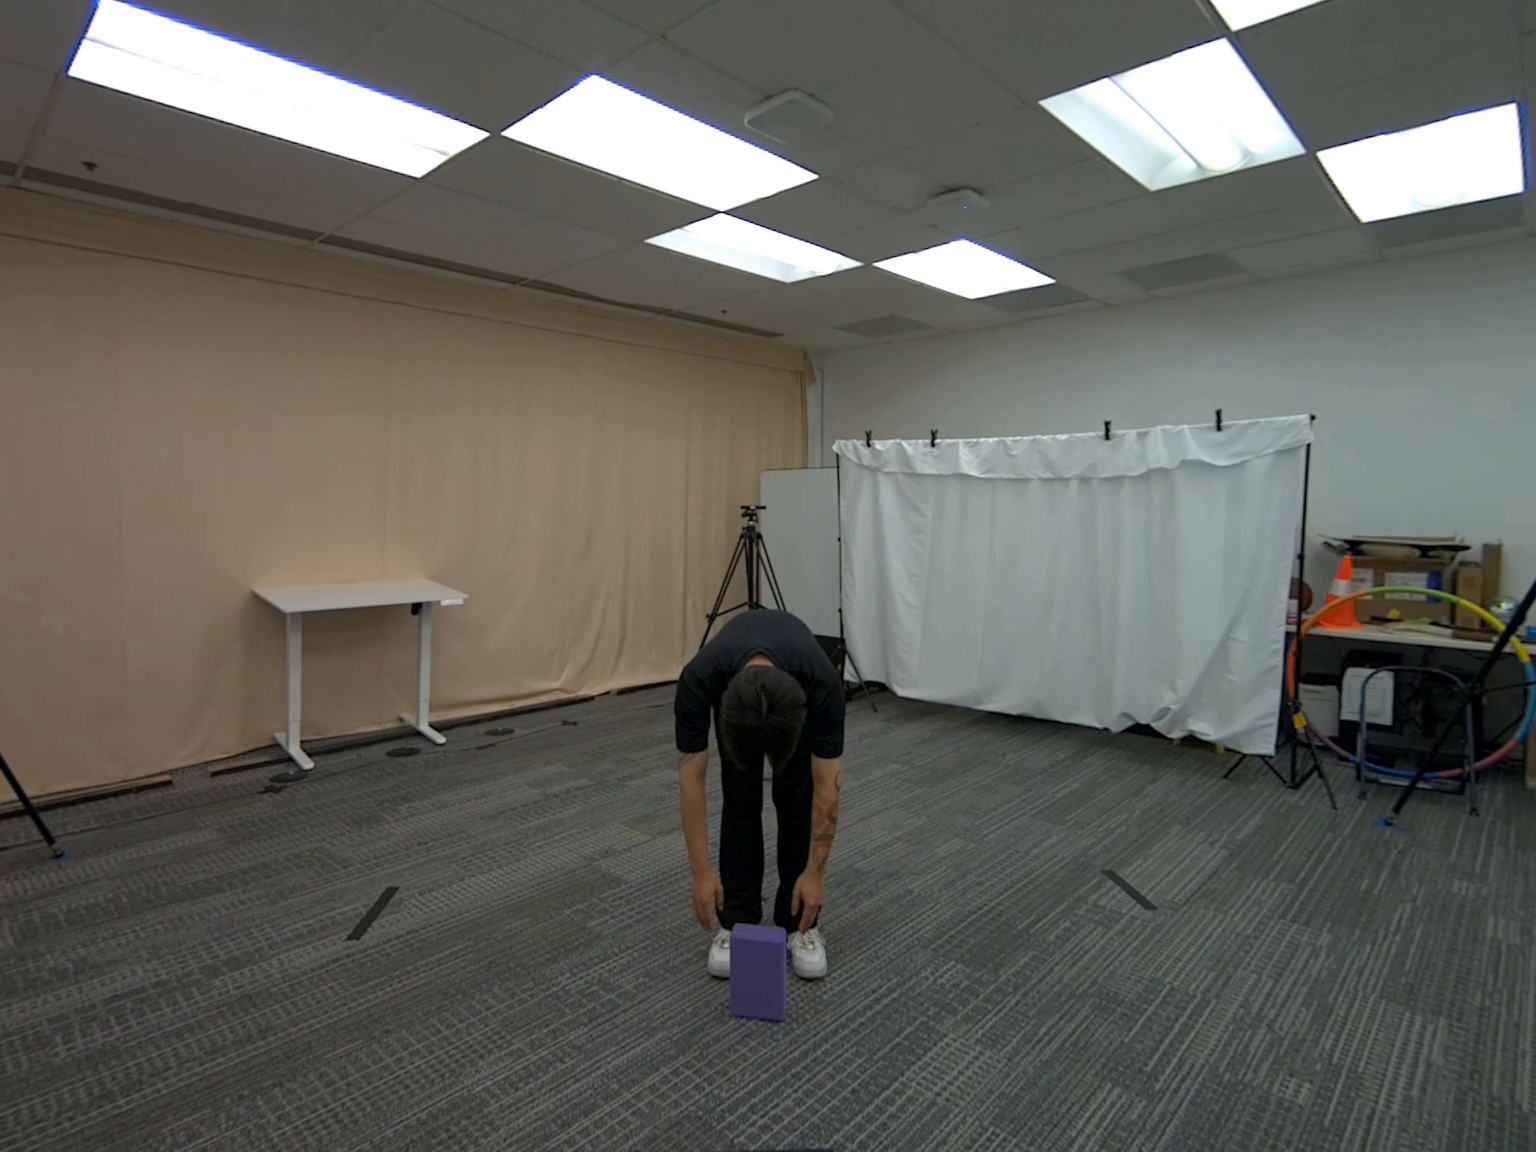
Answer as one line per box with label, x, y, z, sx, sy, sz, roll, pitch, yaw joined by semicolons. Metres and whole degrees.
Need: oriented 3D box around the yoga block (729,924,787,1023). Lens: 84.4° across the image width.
yoga block;-0.026;1.081;2.314;0.150;0.229;0.076;-2;4;9
